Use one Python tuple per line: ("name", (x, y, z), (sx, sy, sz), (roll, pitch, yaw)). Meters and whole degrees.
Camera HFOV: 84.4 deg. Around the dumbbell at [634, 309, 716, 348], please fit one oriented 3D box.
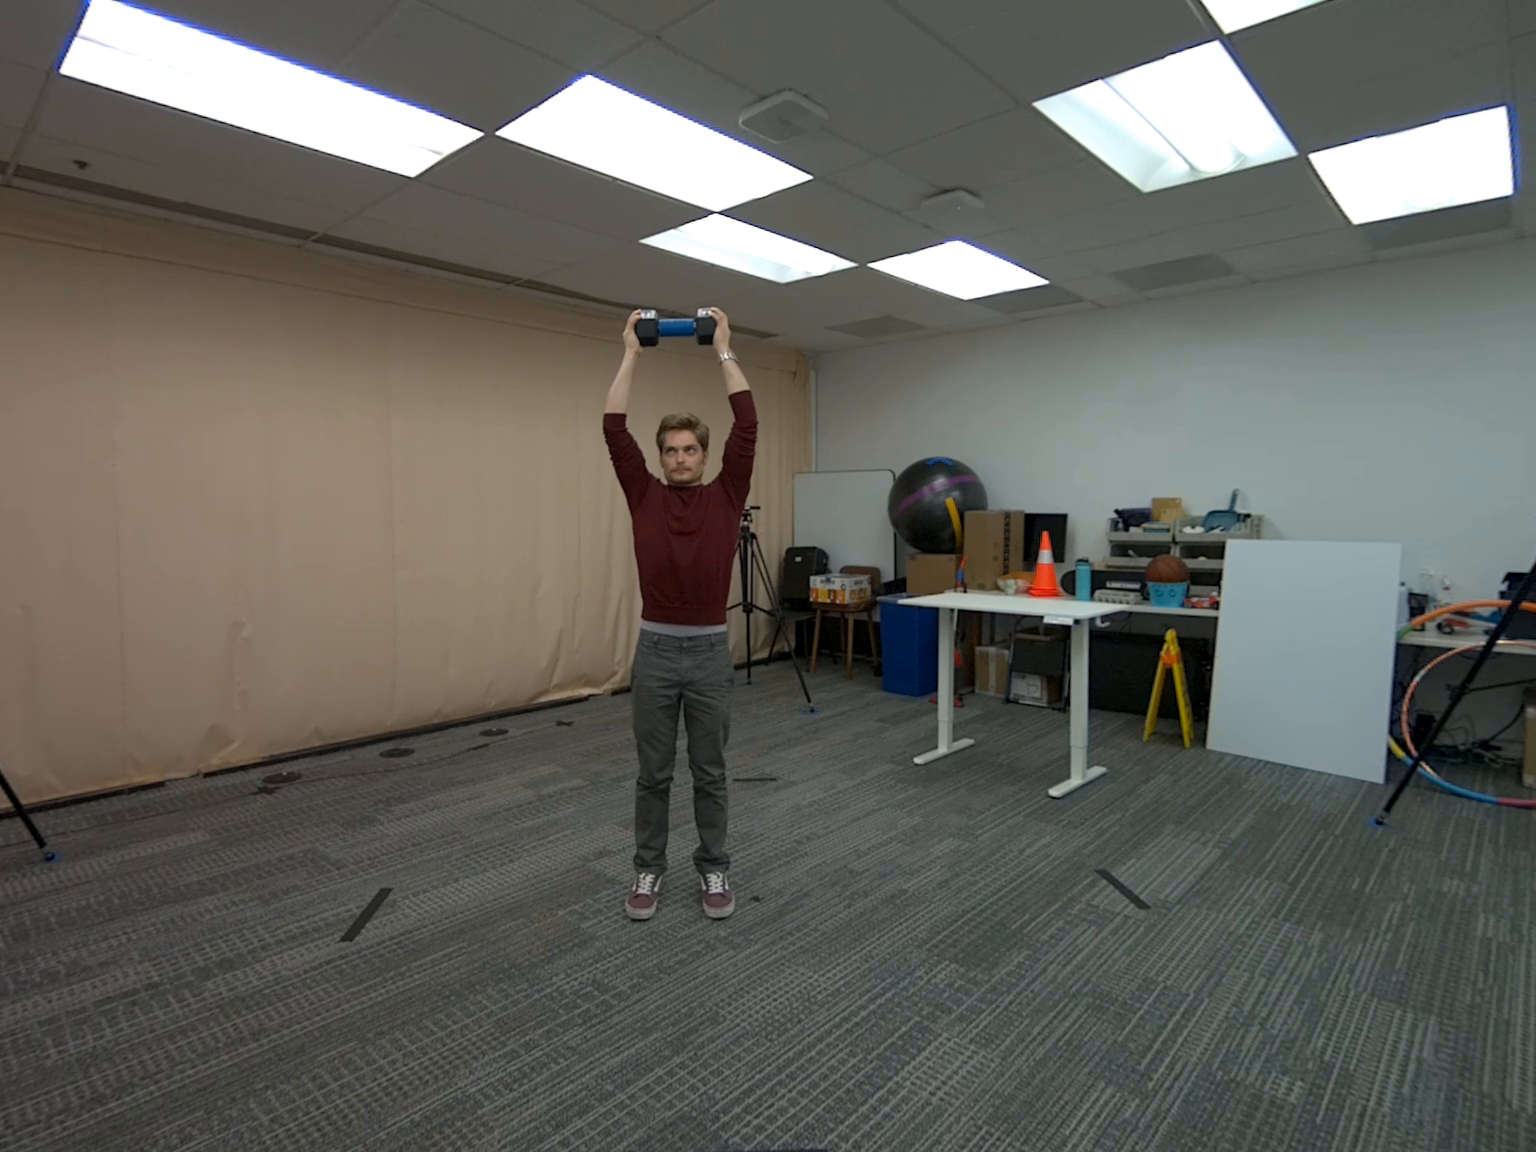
("dumbbell", (-0.315, -0.863, 2.942), (0.294, 0.106, 0.125), (-1, 42, 3))
